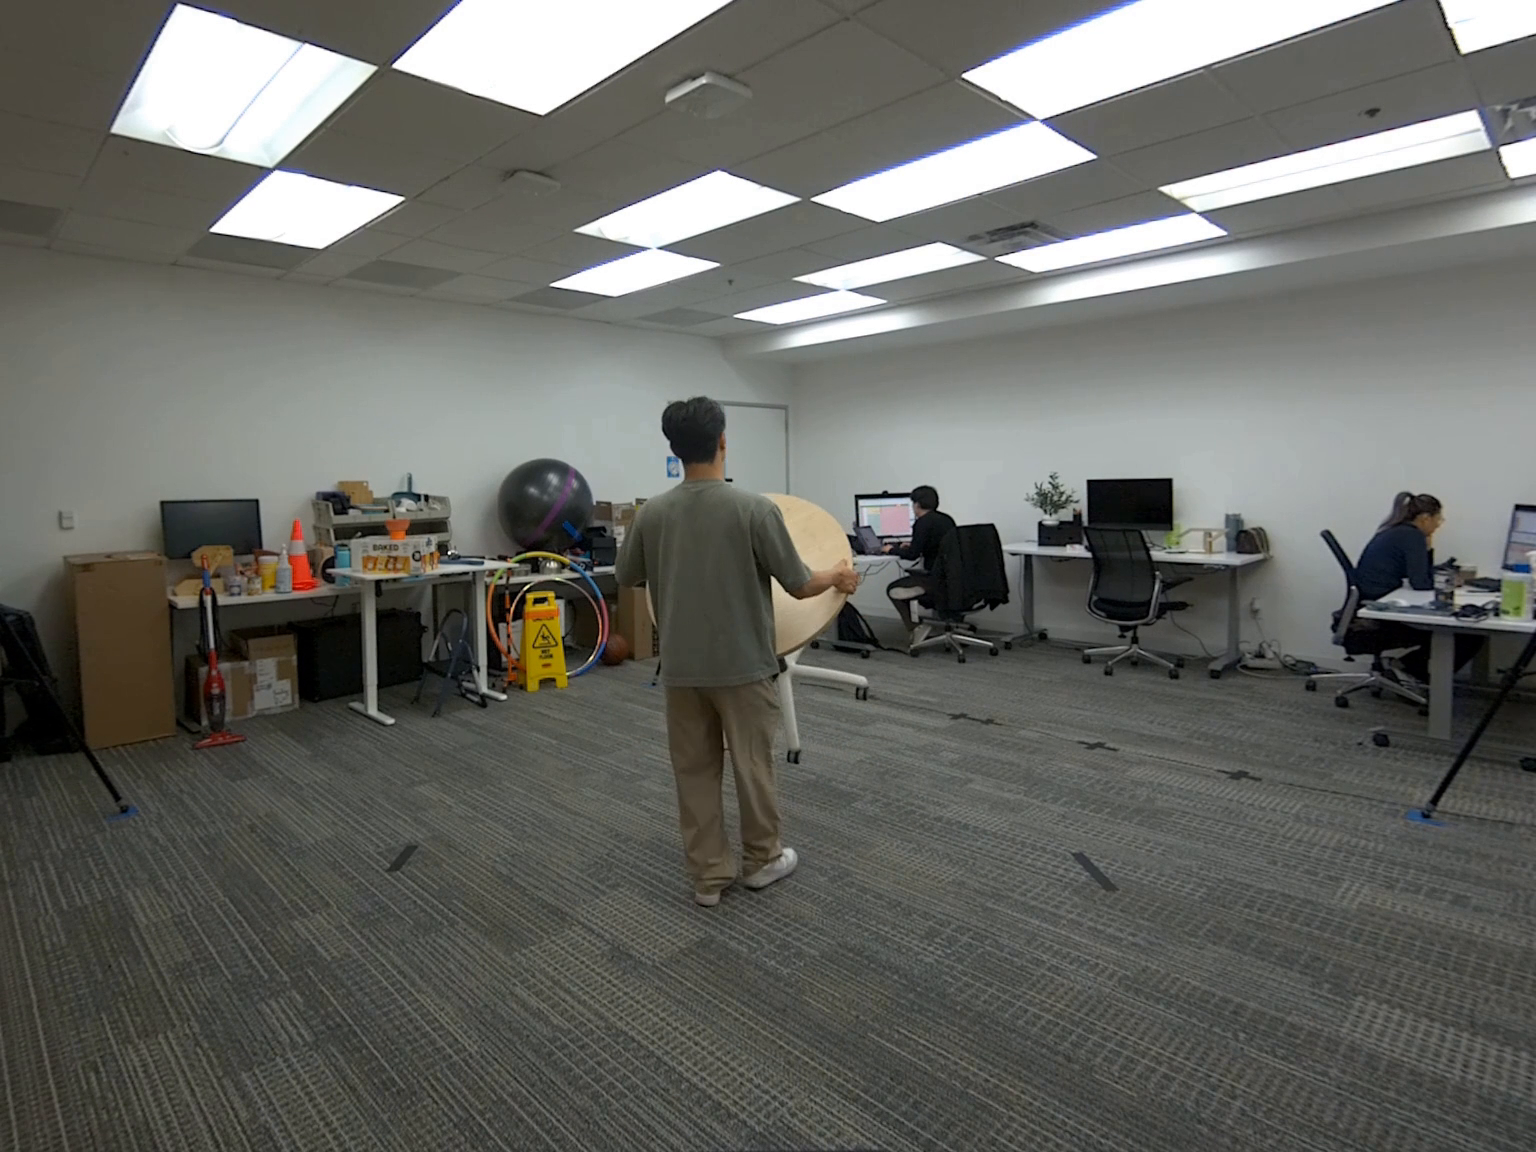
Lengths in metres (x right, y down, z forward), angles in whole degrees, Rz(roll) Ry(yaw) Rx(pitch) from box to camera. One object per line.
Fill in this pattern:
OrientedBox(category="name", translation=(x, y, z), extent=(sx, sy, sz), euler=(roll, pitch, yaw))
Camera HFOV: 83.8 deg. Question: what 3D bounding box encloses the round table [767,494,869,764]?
OrientedBox(category="round table", translation=(0.020, 0.231, 3.381), extent=(0.798, 0.800, 0.759), euler=(1, -38, 17))
